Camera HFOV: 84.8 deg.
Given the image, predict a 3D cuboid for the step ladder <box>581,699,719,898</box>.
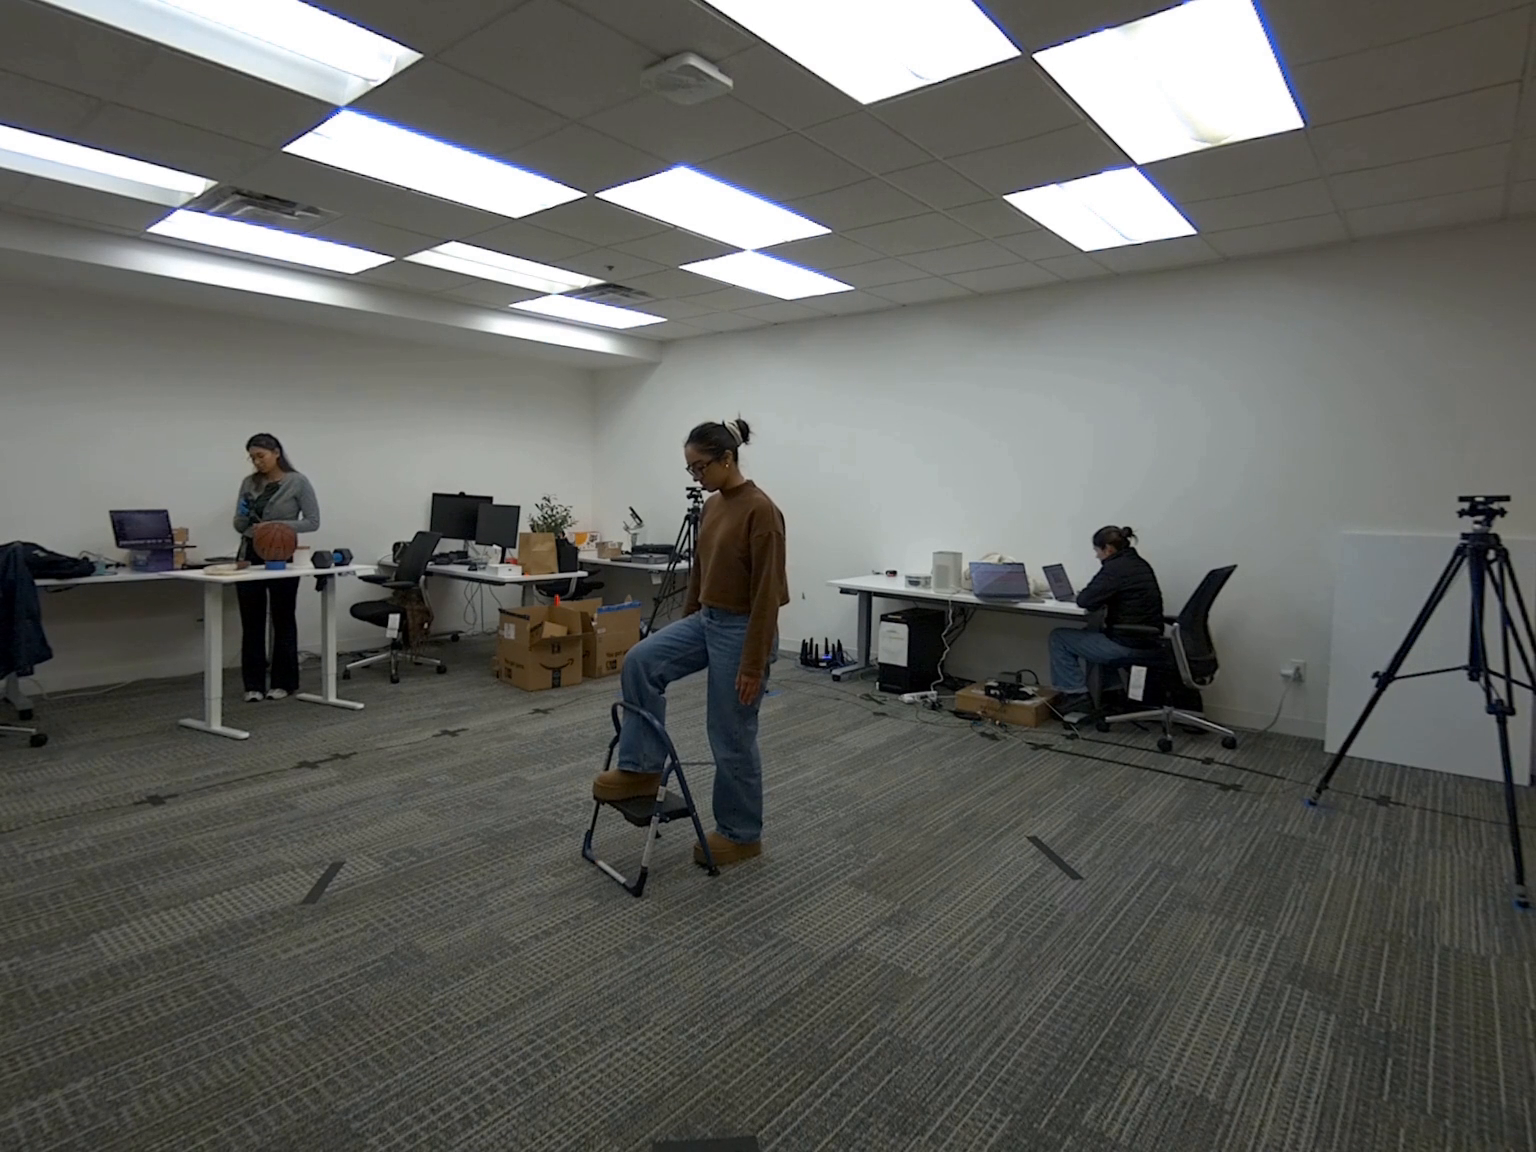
[{"bbox_3d":[-0.446,0.758,3.117,0.339,0.604,0.445,-2,5,-39],"label":"step ladder"}]
